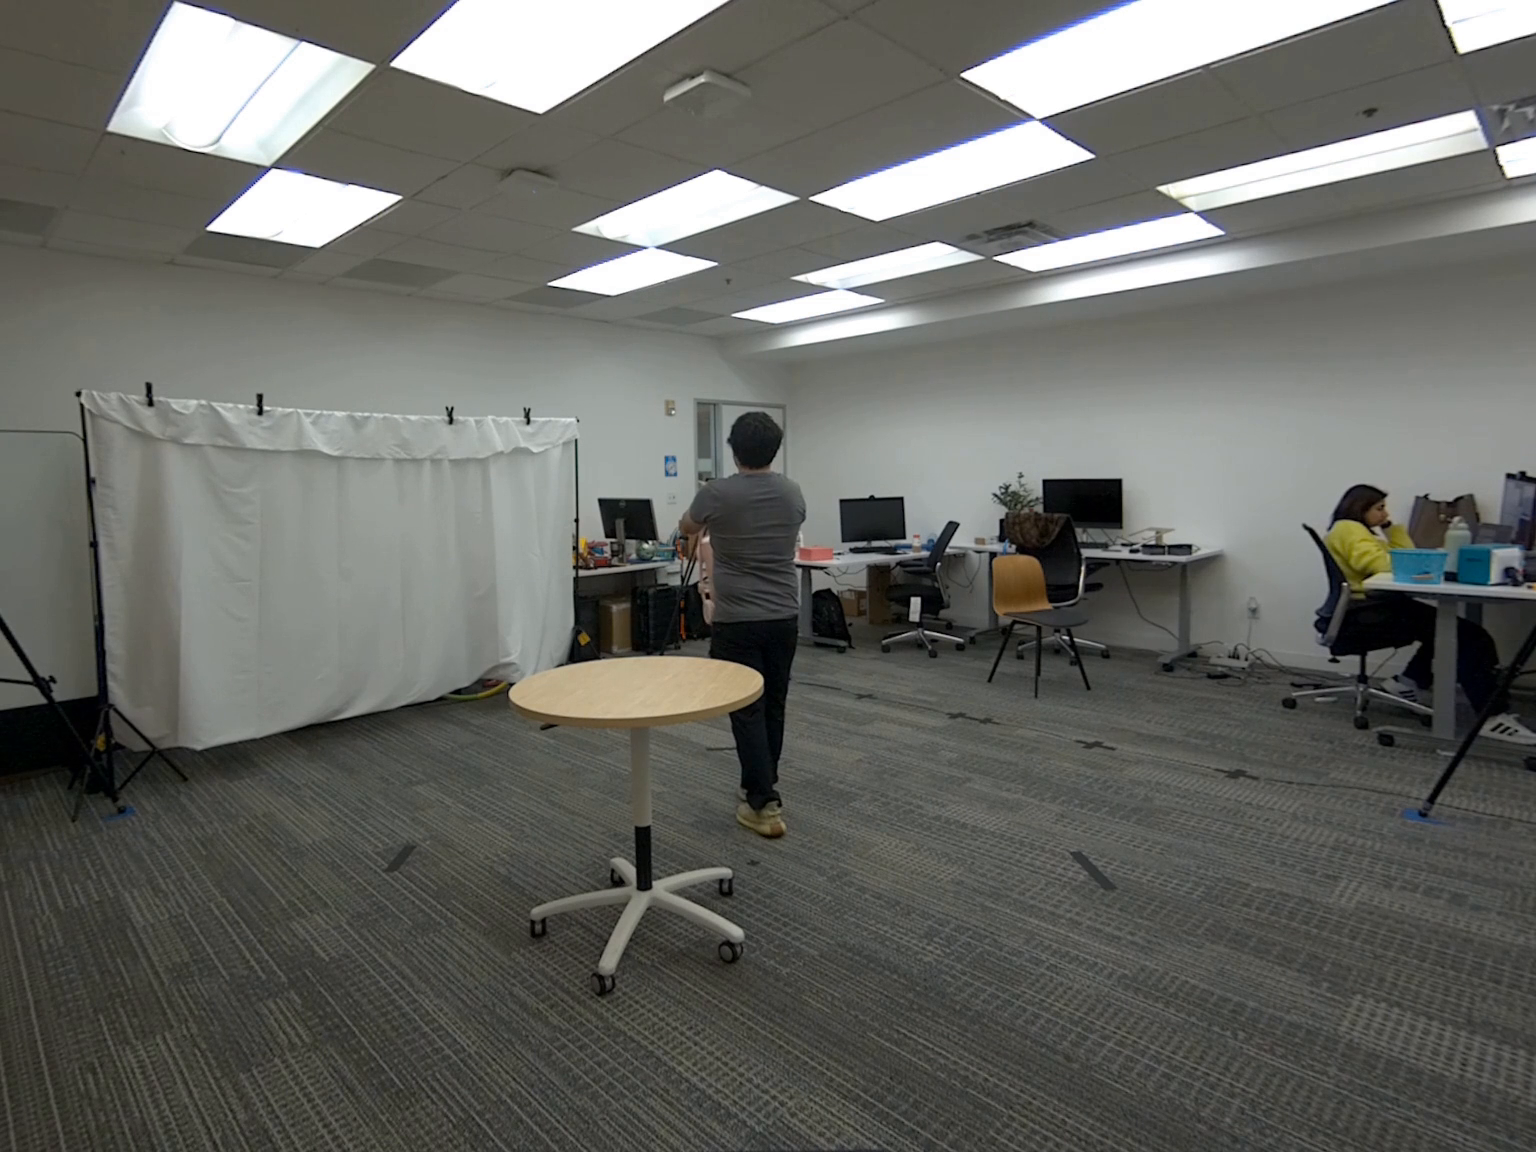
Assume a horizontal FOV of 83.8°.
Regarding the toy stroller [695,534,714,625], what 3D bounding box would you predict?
[{"bbox_3d":[-0.196,0.023,3.920,0.278,0.543,0.340,-8,-13,-14],"label":"toy stroller"}]
